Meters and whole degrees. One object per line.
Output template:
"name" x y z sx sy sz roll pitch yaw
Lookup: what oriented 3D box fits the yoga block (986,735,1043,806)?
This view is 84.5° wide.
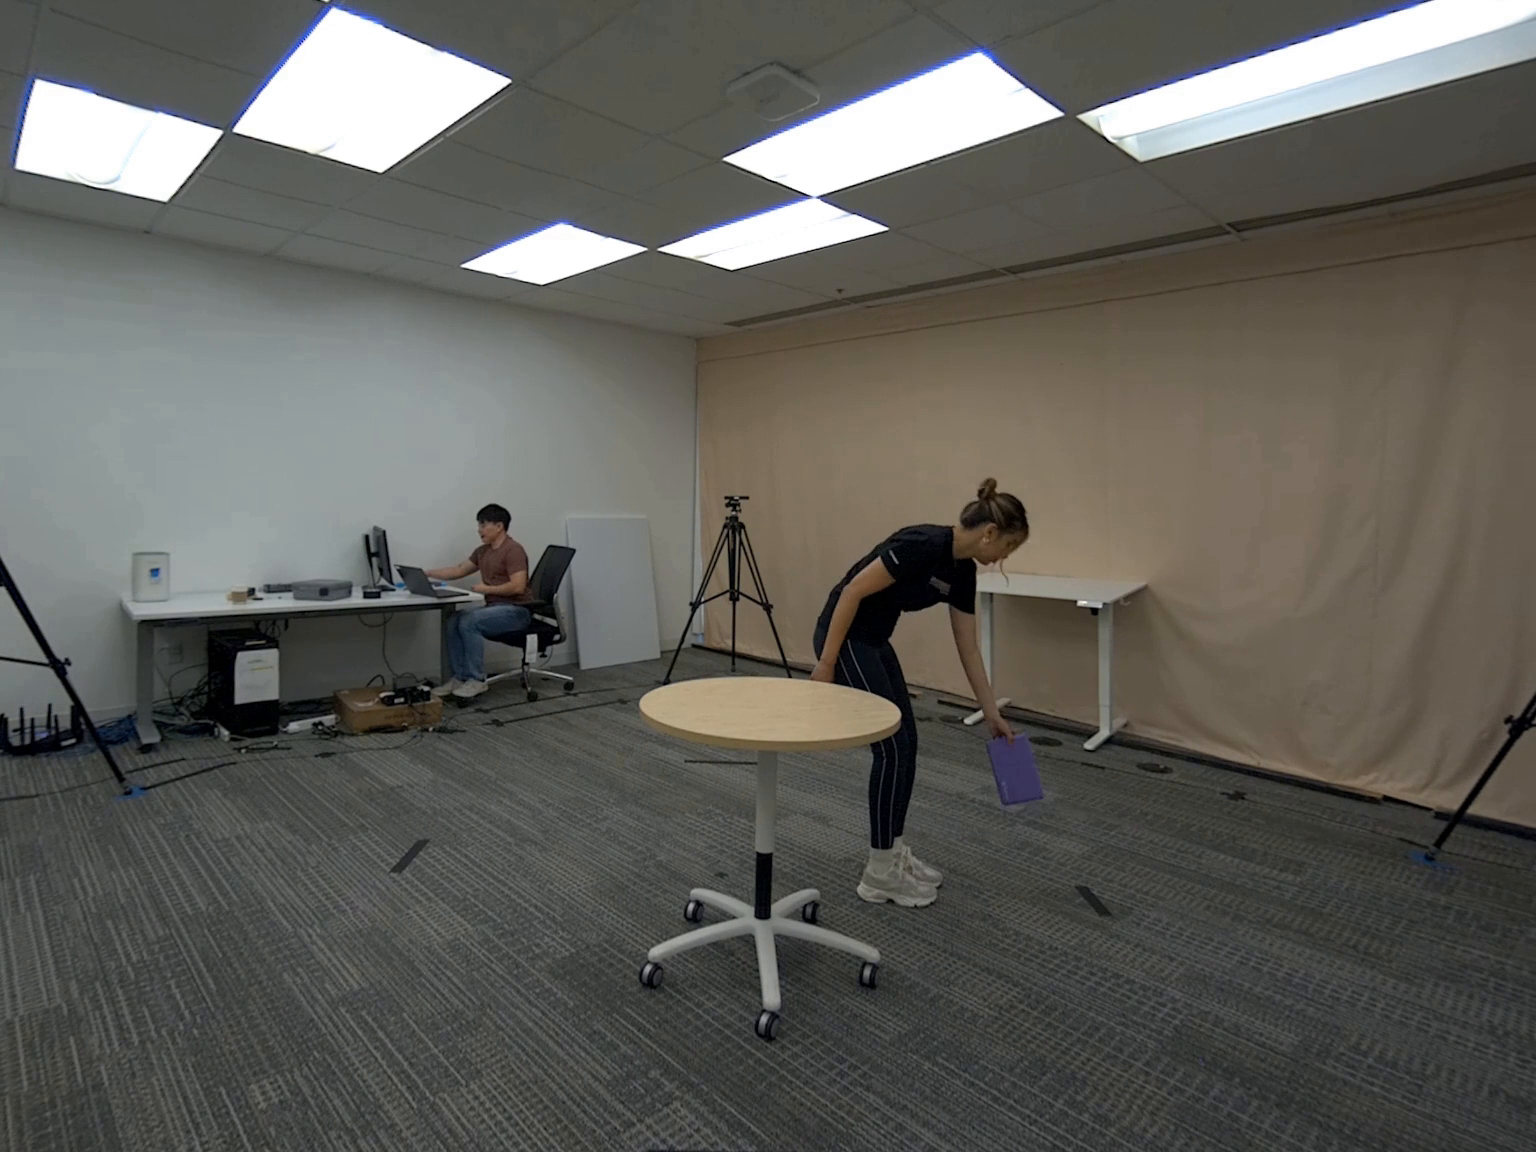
"yoga block" 0.884 0.691 3.034 0.149 0.232 0.075 -12 -16 6
